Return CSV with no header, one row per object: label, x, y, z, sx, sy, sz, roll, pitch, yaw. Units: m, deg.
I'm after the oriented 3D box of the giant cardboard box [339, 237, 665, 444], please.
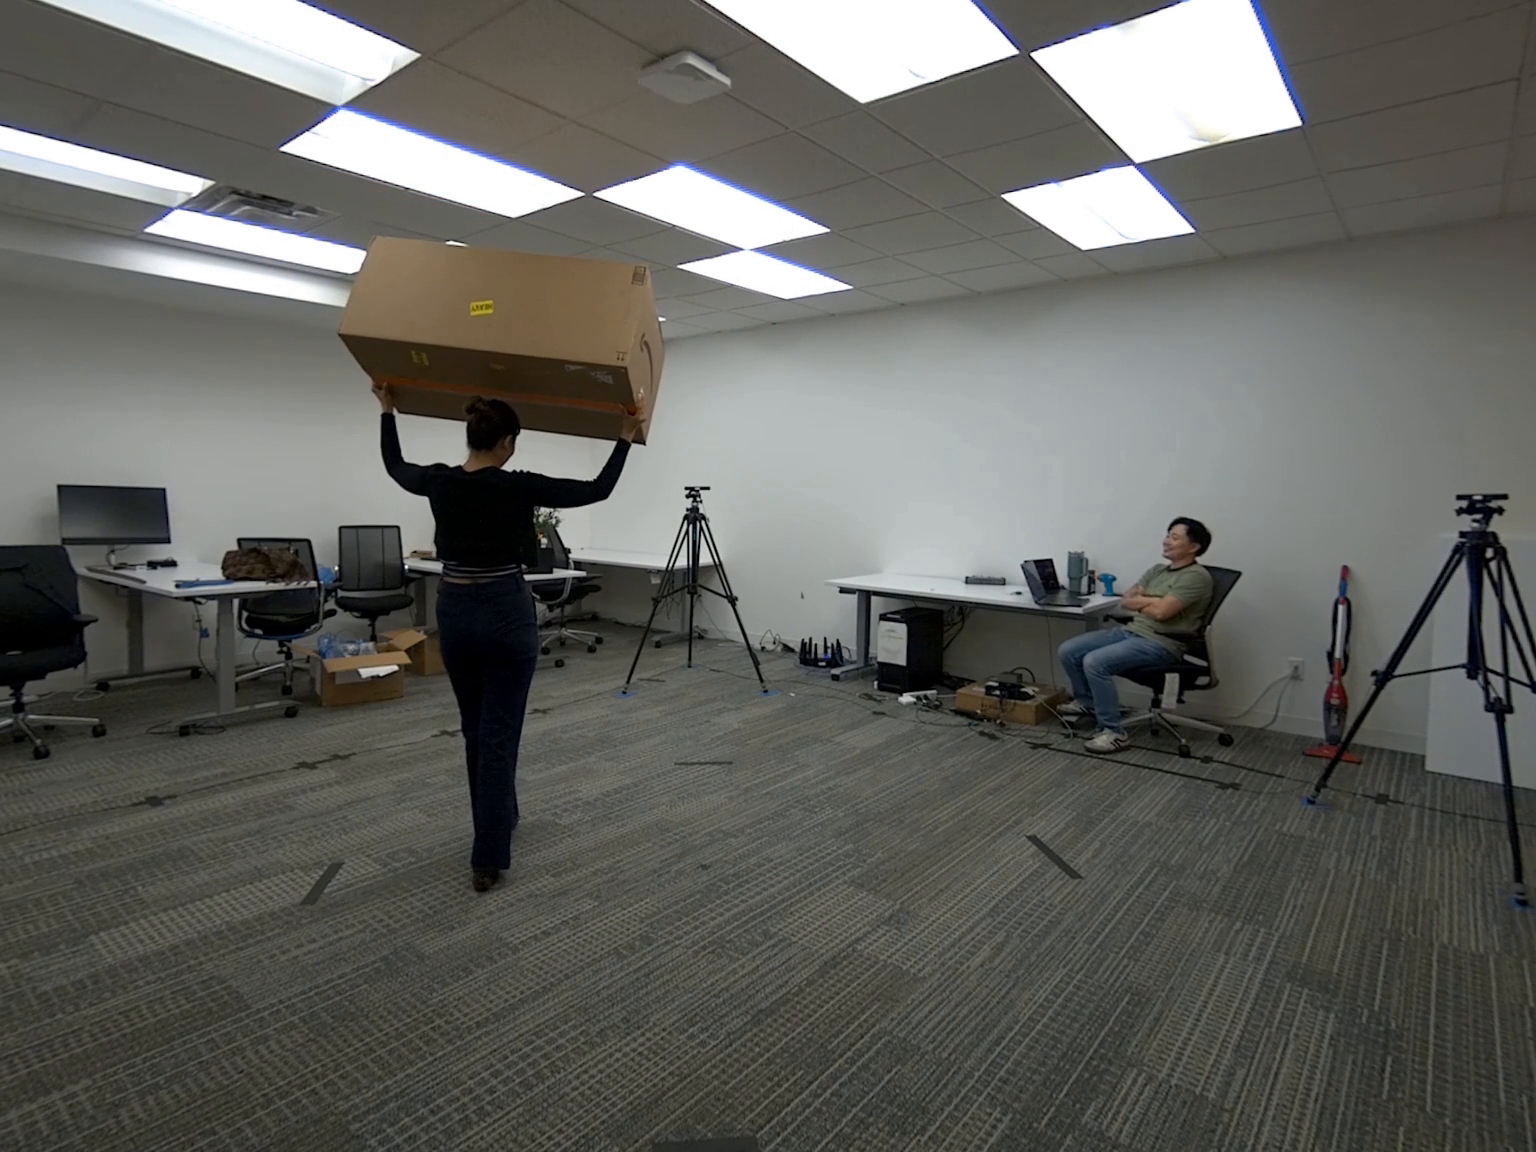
giant cardboard box,-0.967,-0.873,3.197,1.032,0.432,0.566,9,-19,4
